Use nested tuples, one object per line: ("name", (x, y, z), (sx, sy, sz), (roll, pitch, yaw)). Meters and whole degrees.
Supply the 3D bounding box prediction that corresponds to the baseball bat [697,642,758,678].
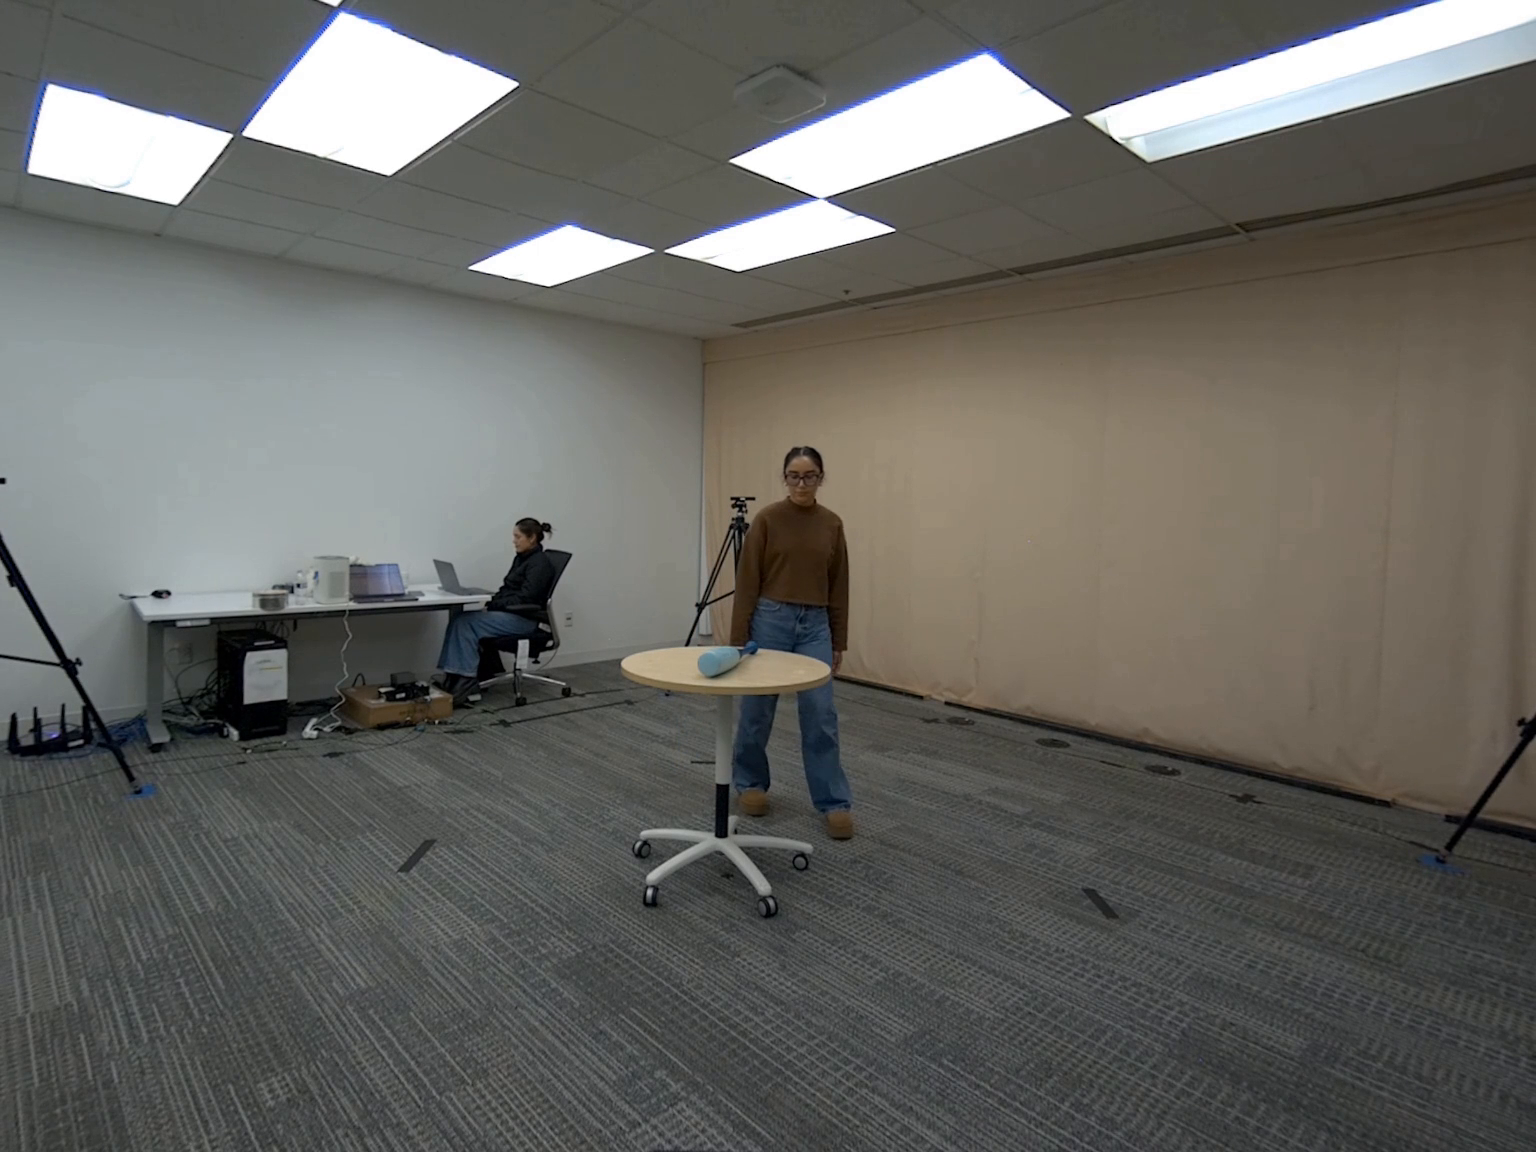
("baseball bat", (-0.140, 0.294, 3.062), (0.090, 0.089, 0.536), (2, 1, 13))
